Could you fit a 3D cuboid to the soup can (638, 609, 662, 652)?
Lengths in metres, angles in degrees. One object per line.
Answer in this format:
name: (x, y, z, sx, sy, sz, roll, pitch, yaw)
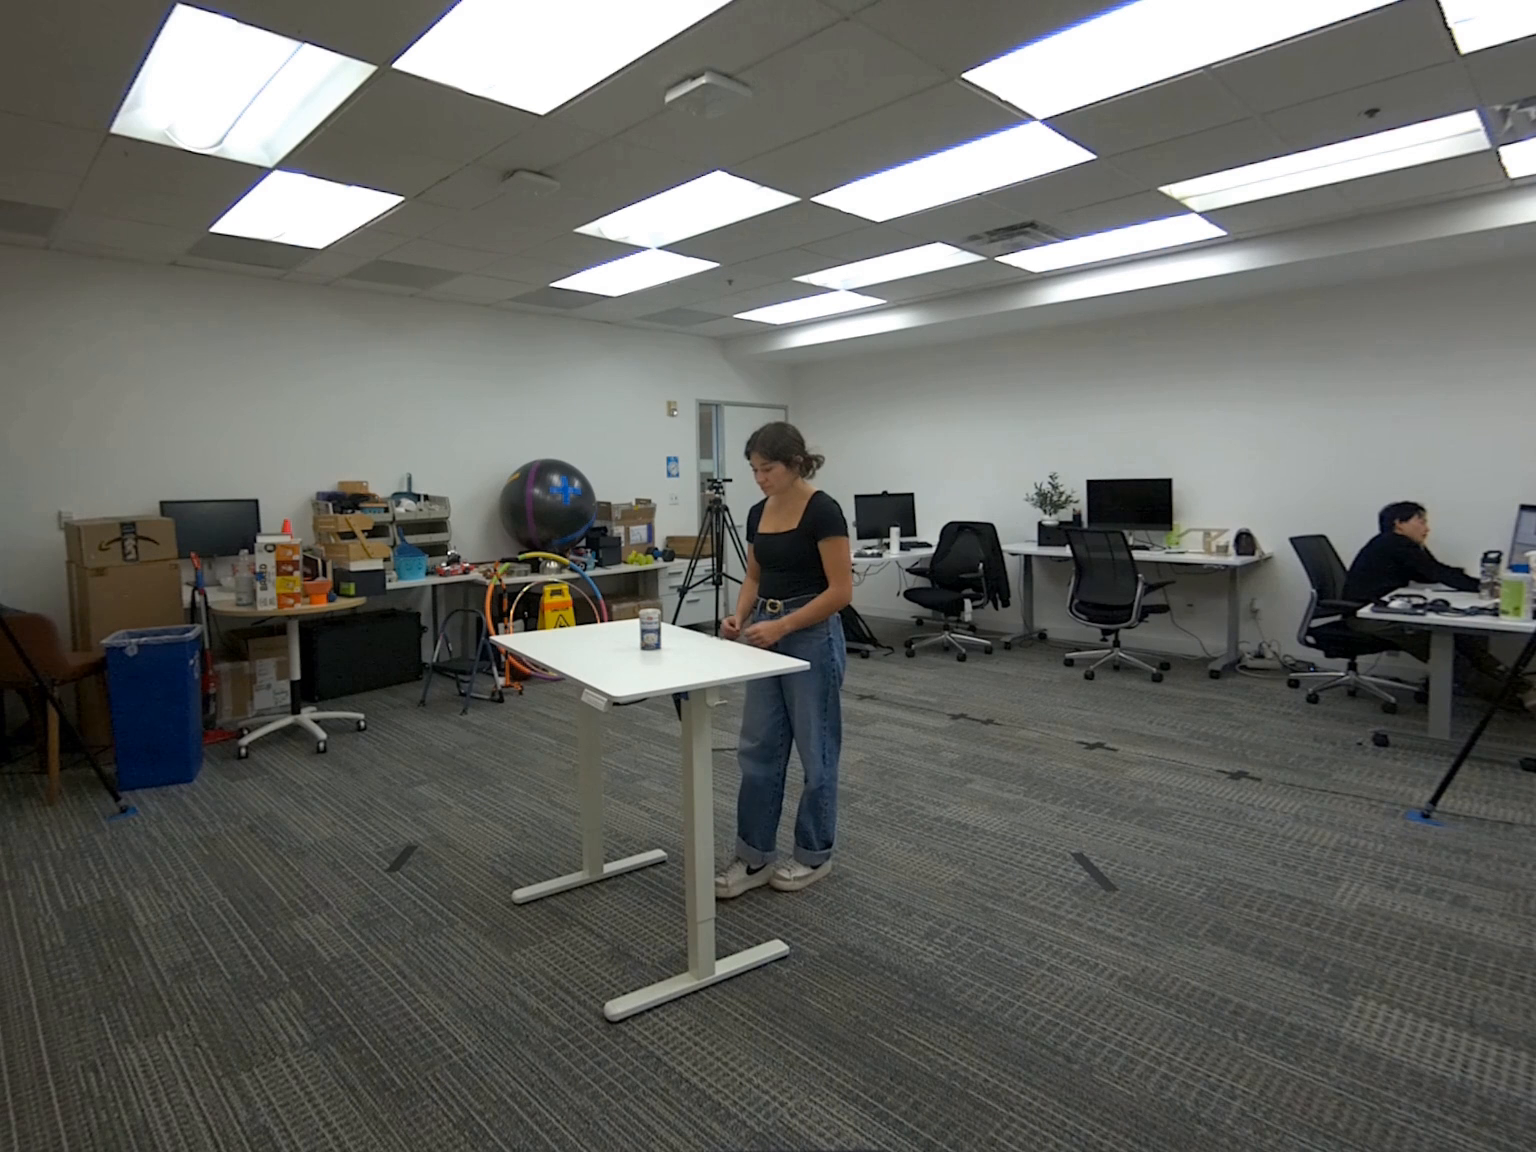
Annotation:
soup can: (-0.362, 0.169, 2.625, 0.067, 0.121, 0.067, -2, 2, -2)
